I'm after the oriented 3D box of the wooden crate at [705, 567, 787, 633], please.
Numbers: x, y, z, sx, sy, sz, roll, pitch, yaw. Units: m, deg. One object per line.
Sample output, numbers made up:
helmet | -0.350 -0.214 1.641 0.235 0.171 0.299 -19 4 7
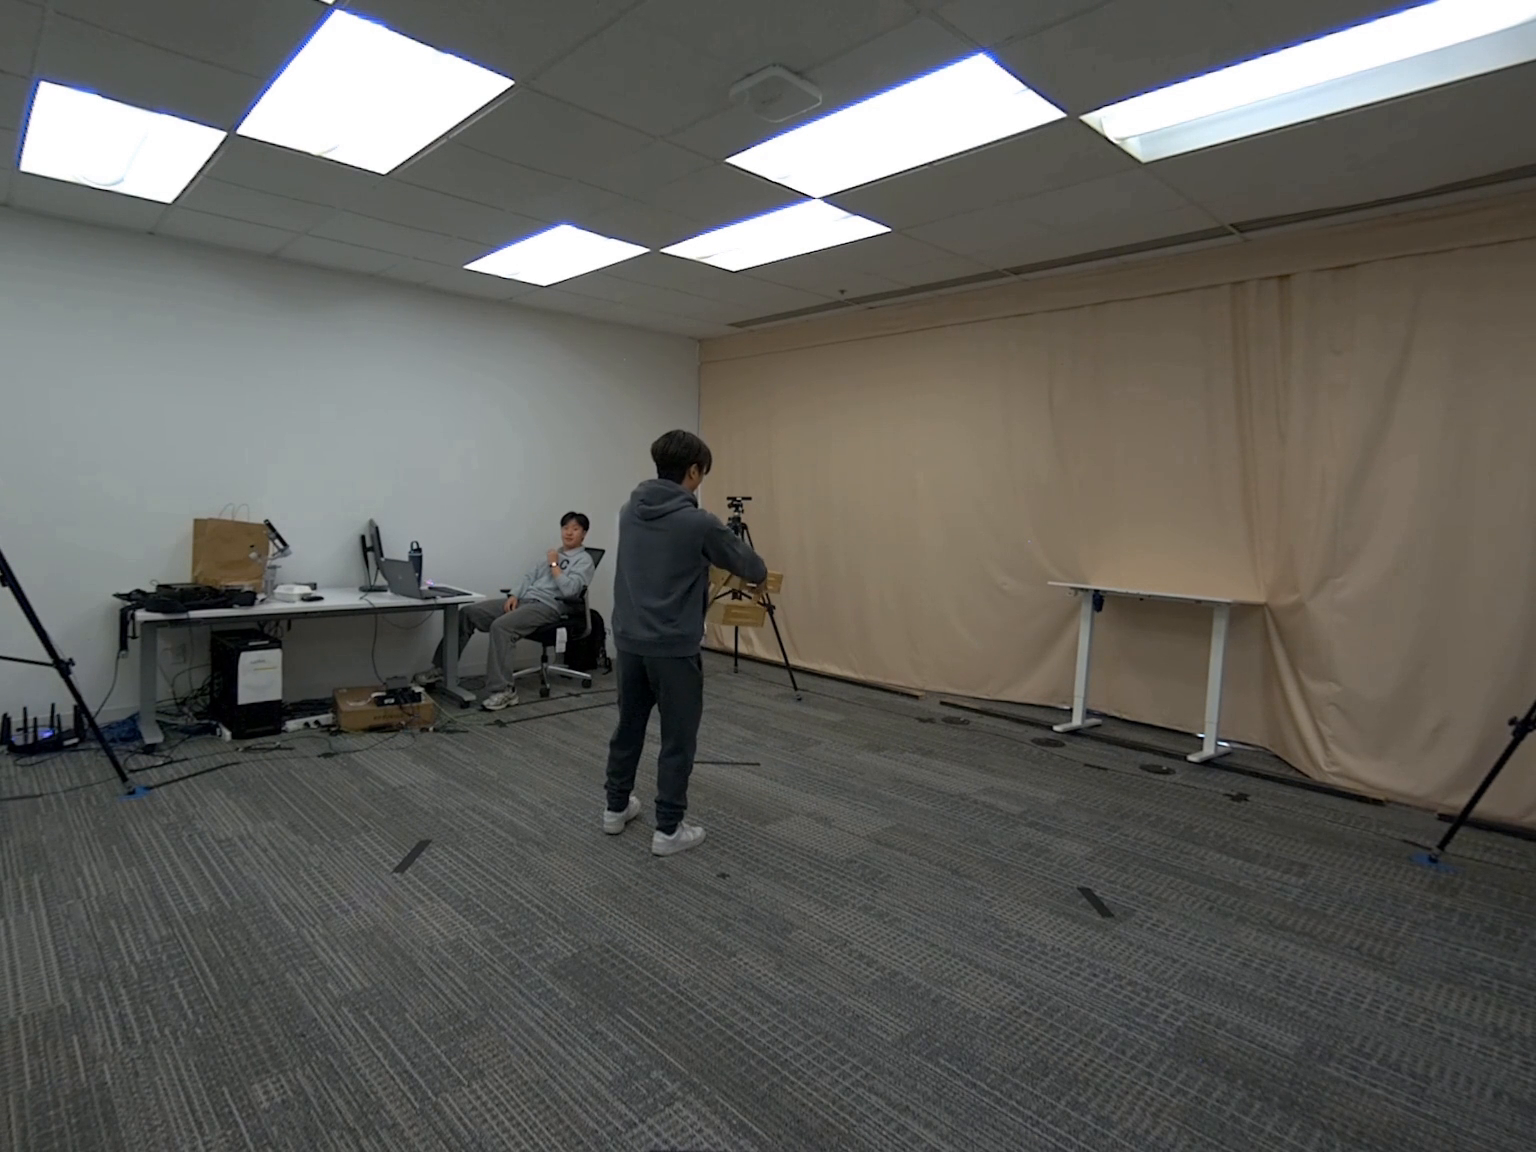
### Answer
wooden crate | -0.160 0.076 3.778 0.310 0.273 0.316 14 4 37
